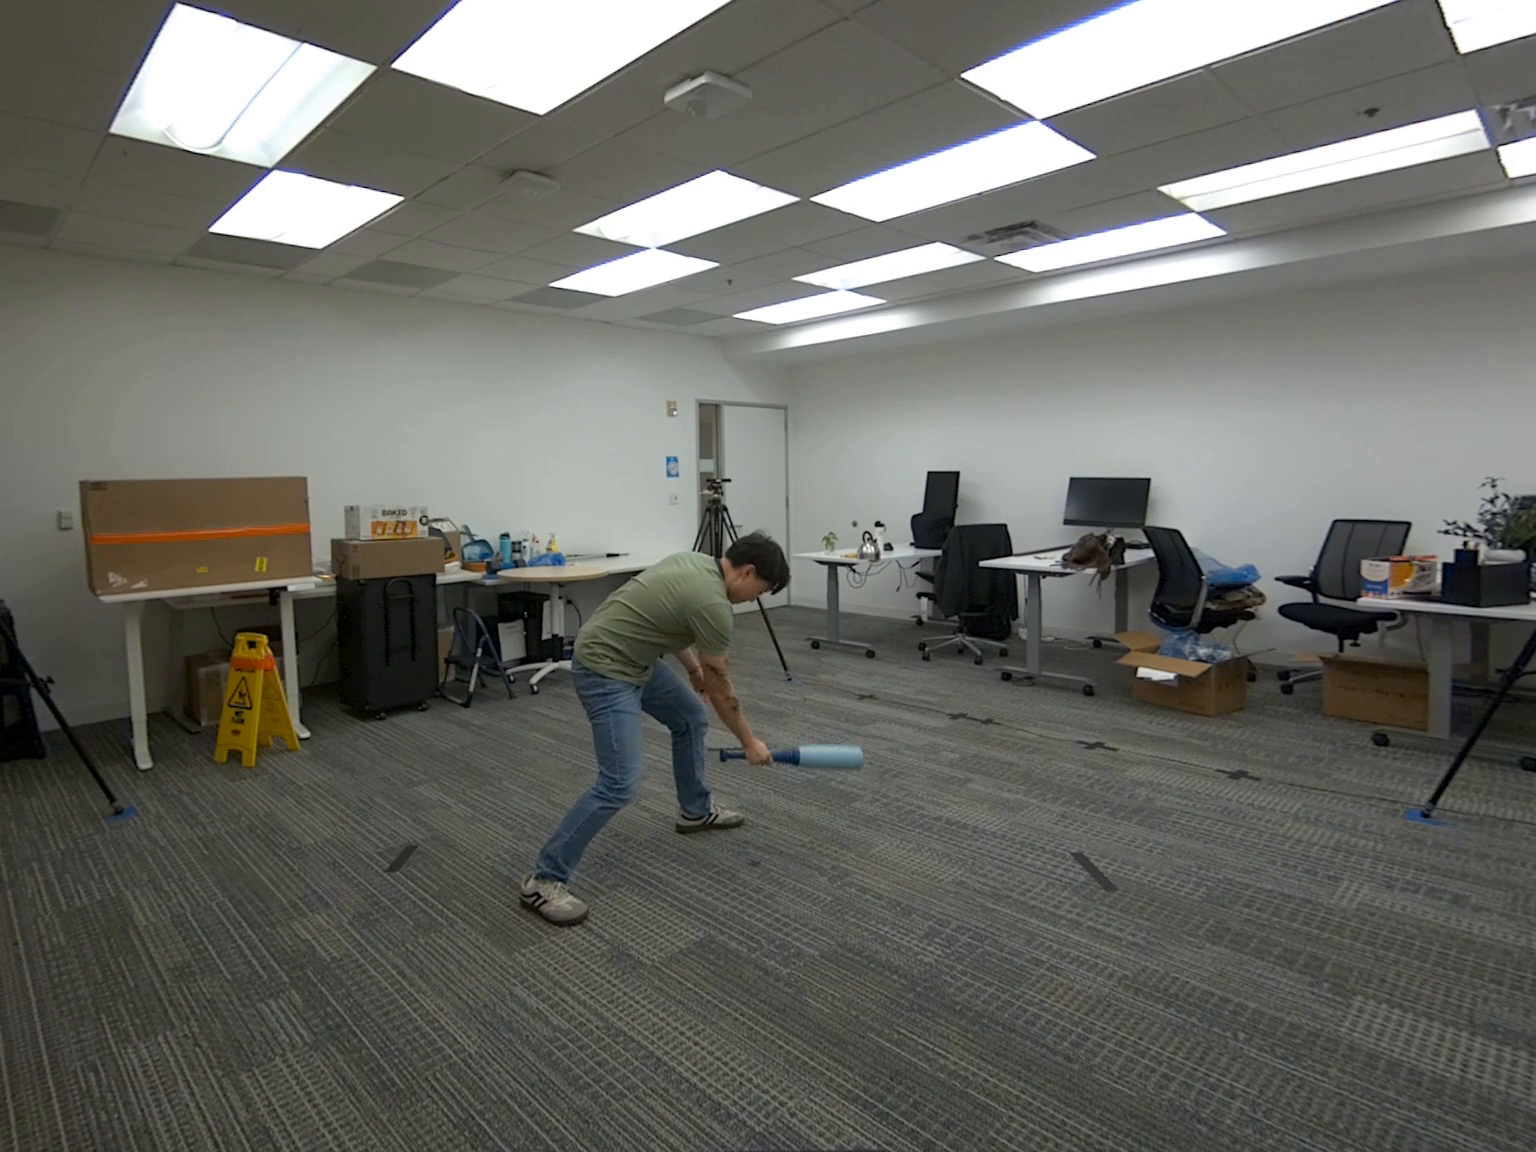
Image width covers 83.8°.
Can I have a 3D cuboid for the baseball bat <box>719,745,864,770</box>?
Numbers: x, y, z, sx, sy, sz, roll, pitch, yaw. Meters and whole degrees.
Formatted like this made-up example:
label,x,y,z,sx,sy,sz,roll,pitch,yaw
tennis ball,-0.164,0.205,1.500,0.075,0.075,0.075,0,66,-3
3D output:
label,x,y,z,sx,sy,sz,roll,pitch,yaw
baseball bat,0.069,0.657,3.165,0.537,0.089,0.090,5,4,-9
